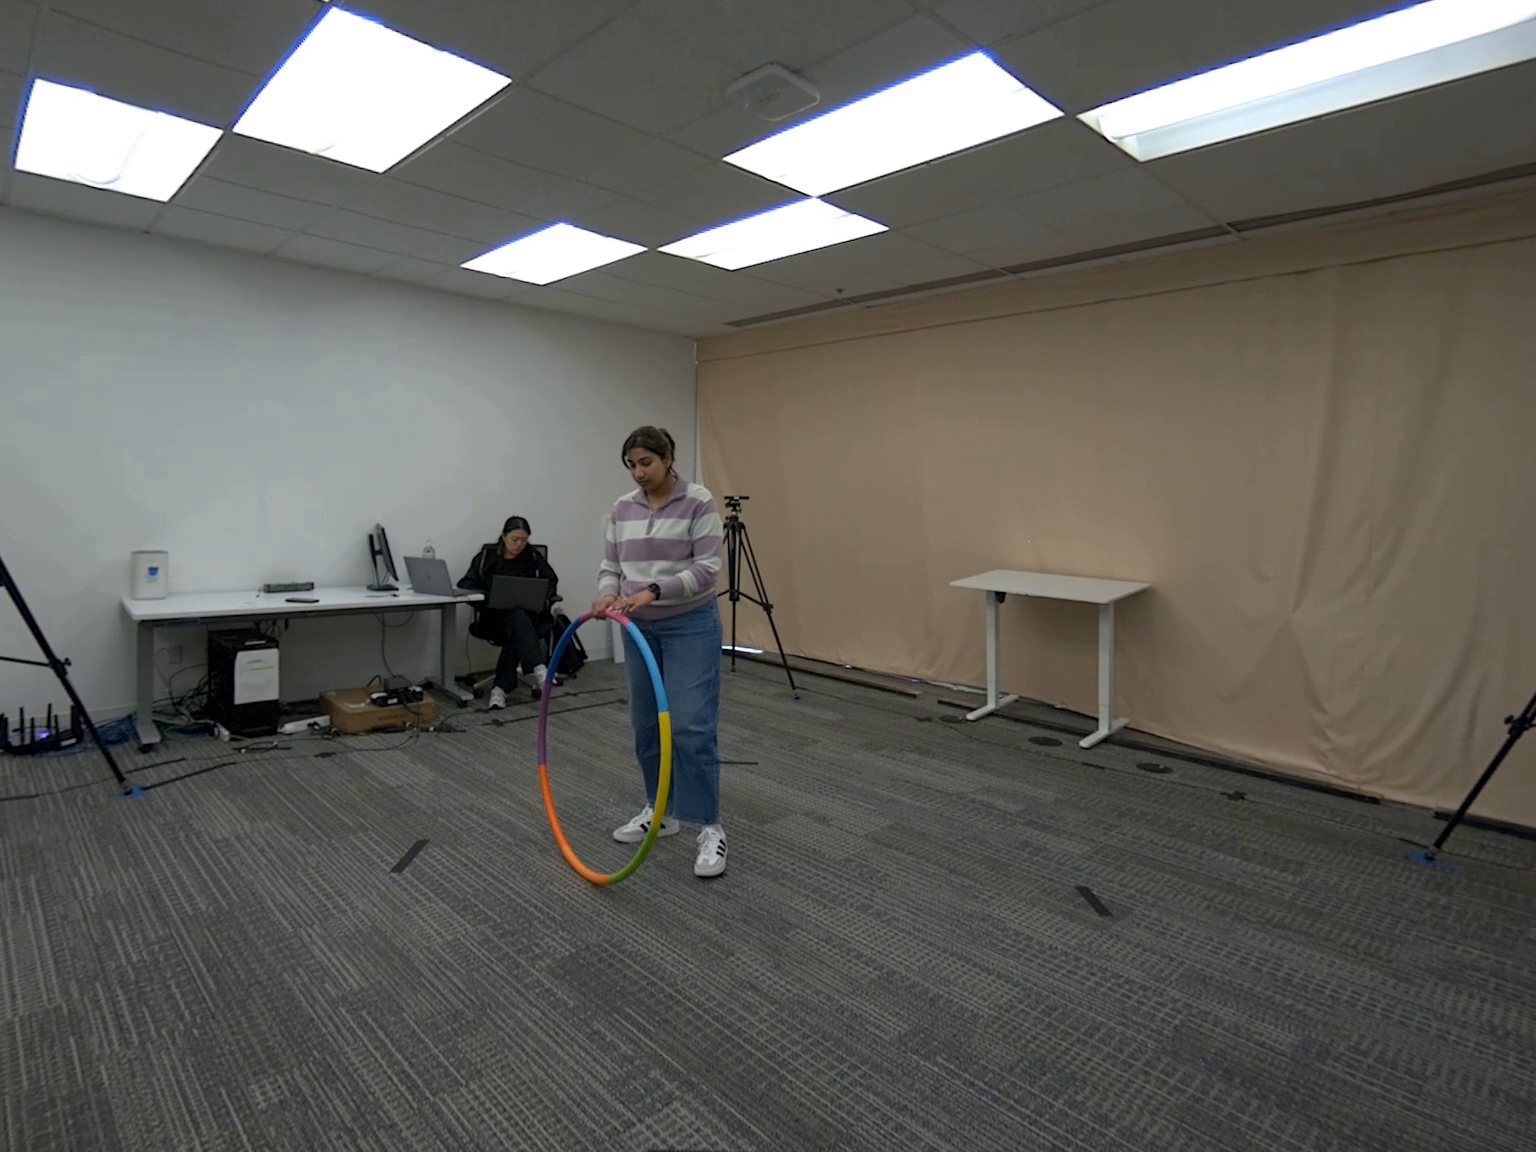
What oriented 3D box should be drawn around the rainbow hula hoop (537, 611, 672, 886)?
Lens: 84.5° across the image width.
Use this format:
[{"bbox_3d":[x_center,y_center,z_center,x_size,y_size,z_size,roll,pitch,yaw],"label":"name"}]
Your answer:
[{"bbox_3d":[-0.631,0.612,3.070,0.050,0.985,1.010,6,1,-36],"label":"rainbow hula hoop"}]
